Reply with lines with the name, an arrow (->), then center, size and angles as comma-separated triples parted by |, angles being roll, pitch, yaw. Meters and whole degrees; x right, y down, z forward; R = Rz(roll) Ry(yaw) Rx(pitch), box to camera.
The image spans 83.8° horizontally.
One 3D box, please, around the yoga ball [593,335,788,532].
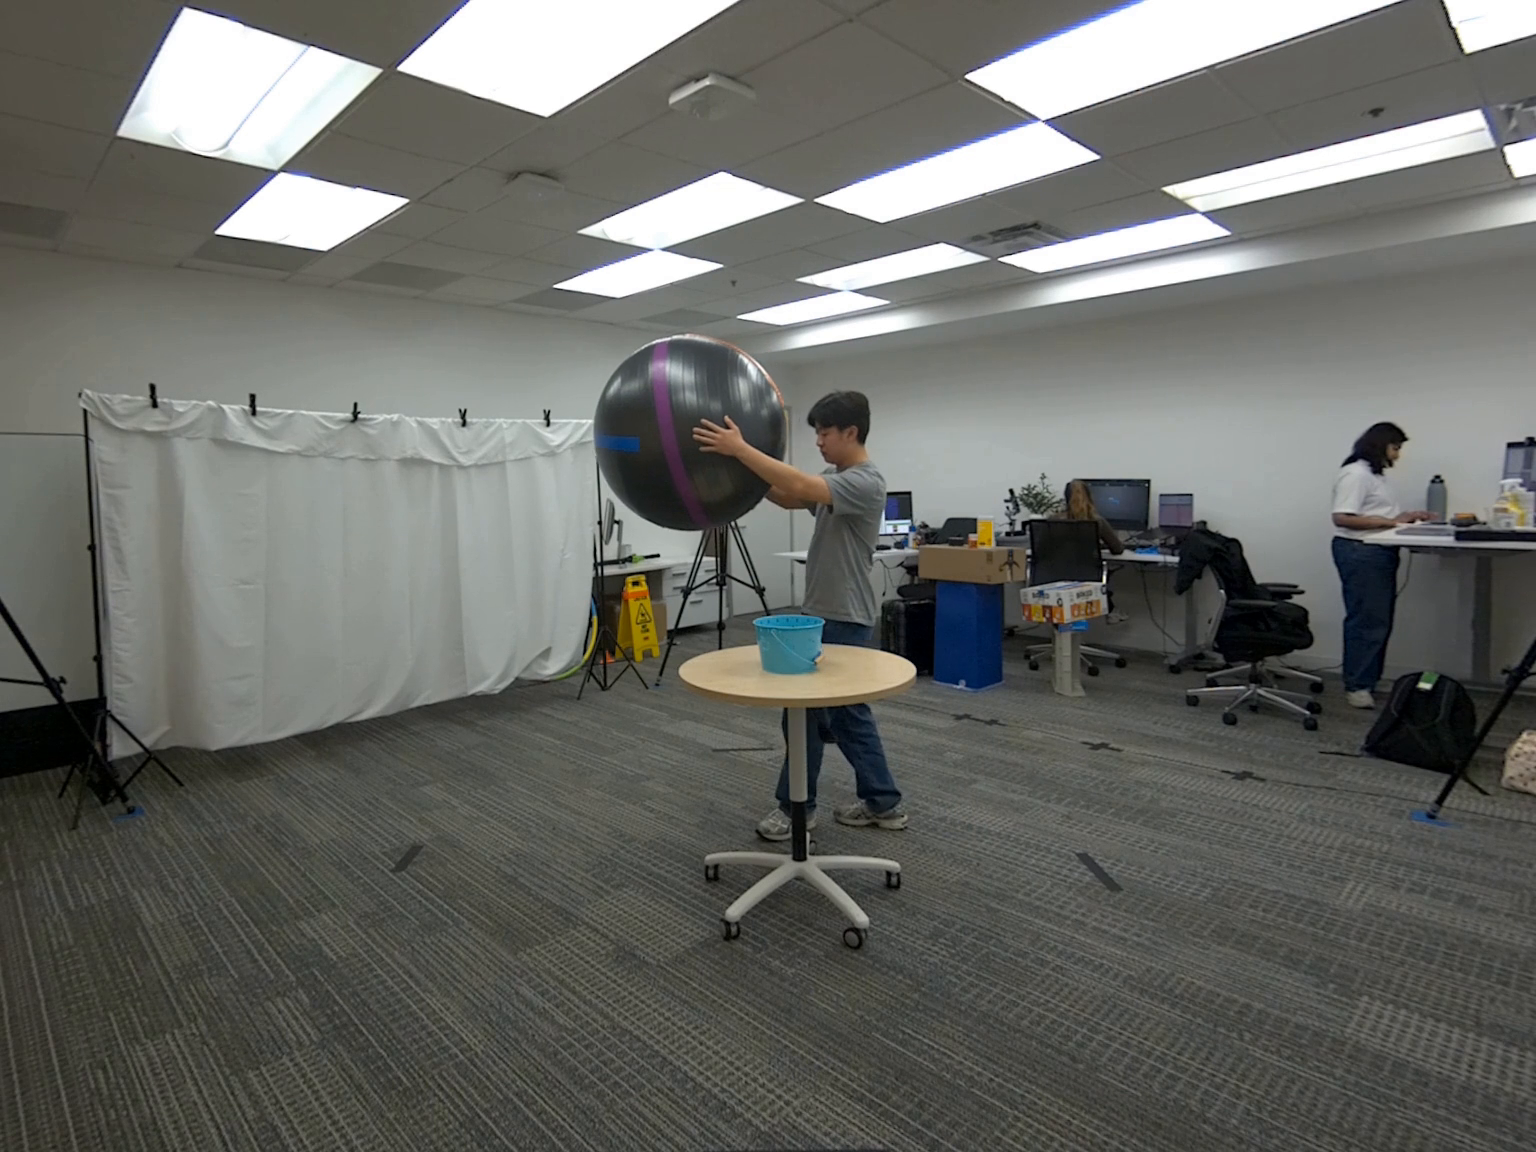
yoga ball -> -0.308, -0.556, 3.359 | 0.757, 0.755, 0.762 | -1, 5, -2
